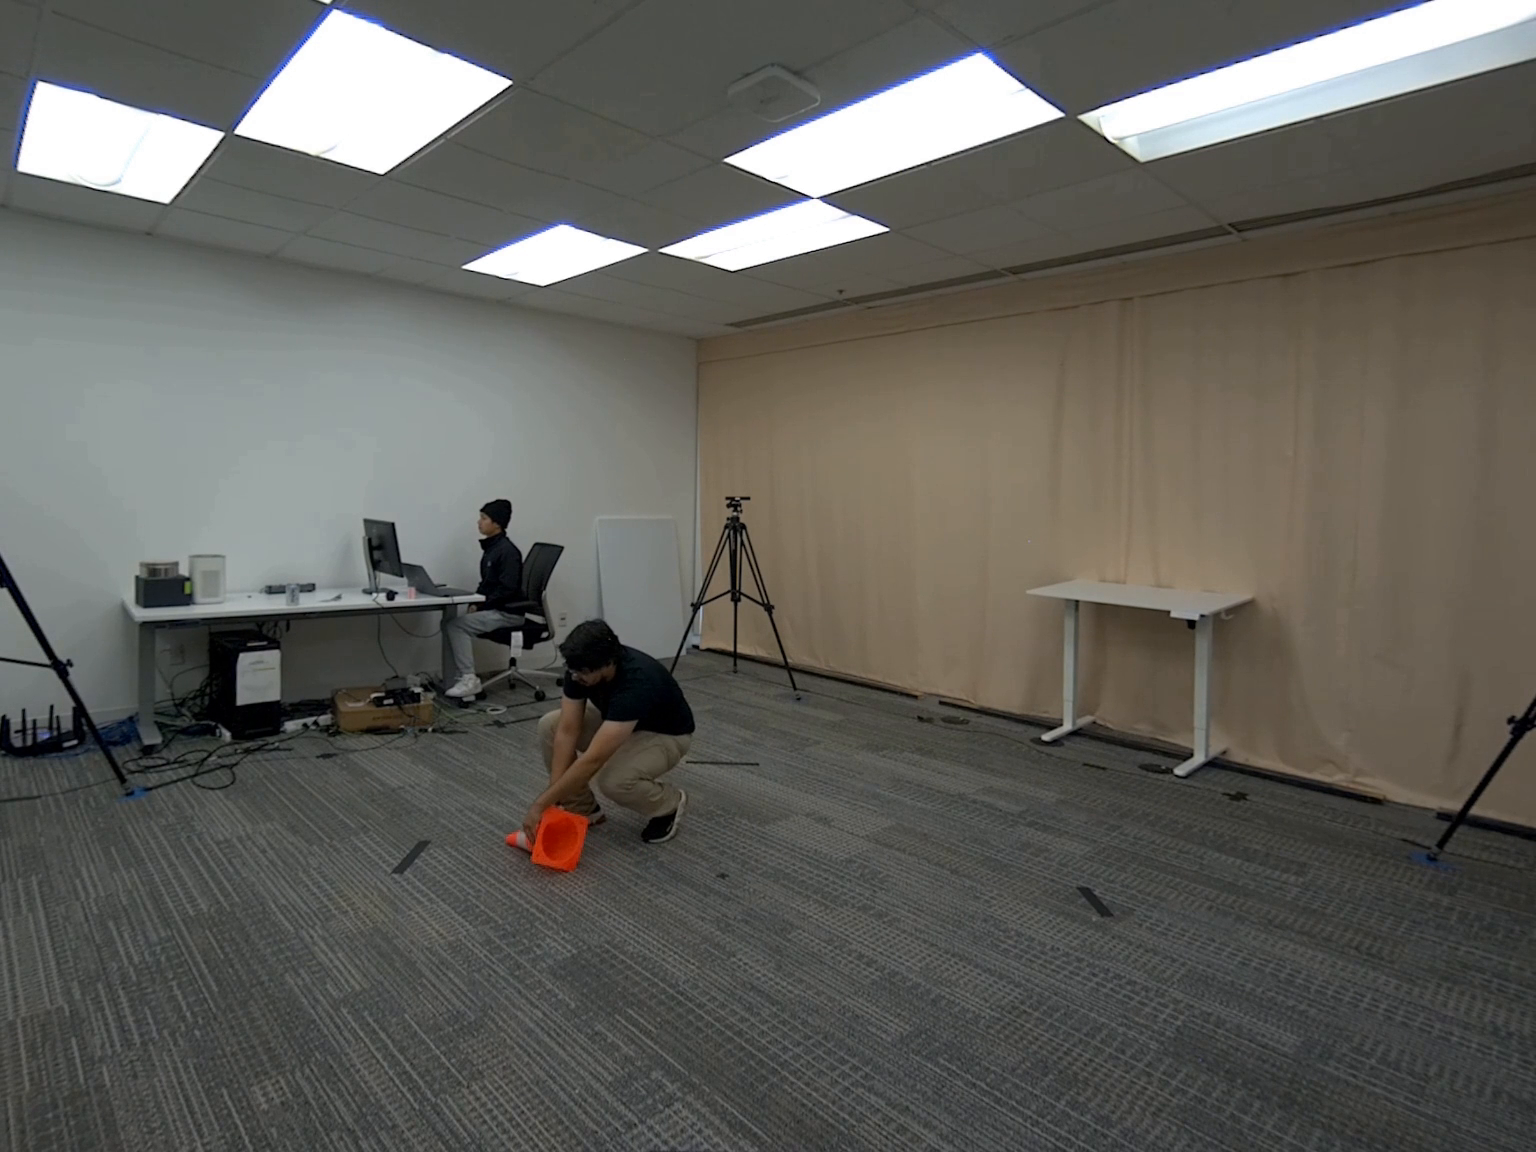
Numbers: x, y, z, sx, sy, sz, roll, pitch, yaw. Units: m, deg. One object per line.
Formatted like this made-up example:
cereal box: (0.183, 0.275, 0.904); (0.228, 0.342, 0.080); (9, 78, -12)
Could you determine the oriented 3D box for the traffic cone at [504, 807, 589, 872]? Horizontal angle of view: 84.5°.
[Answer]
traffic cone: (-0.919, 1.025, 3.228); (0.197, 0.208, 0.389); (29, -33, -35)
